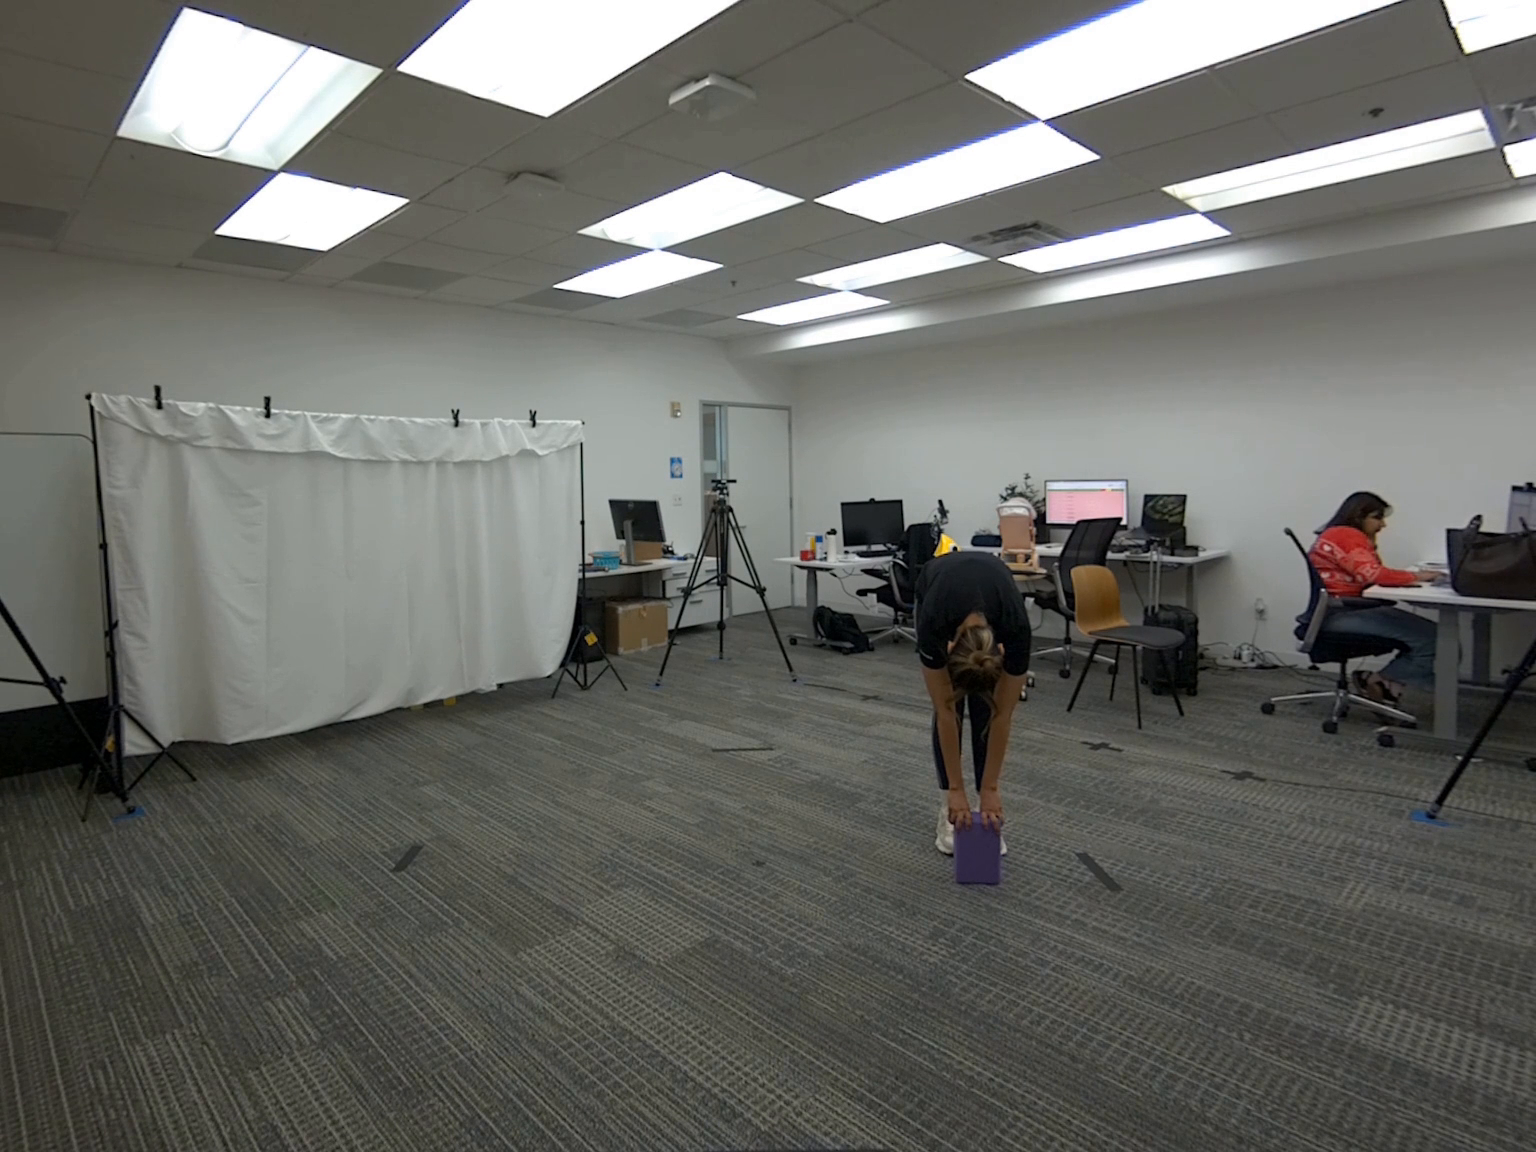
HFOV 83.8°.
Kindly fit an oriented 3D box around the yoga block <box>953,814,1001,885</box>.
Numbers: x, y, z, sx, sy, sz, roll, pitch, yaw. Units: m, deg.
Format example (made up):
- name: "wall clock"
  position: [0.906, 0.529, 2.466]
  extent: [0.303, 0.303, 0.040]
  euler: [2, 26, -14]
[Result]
- name: "yoga block"
  position: [0.724, 0.945, 2.943]
  extent: [0.150, 0.229, 0.076]
  euler: [-2, 3, 5]
